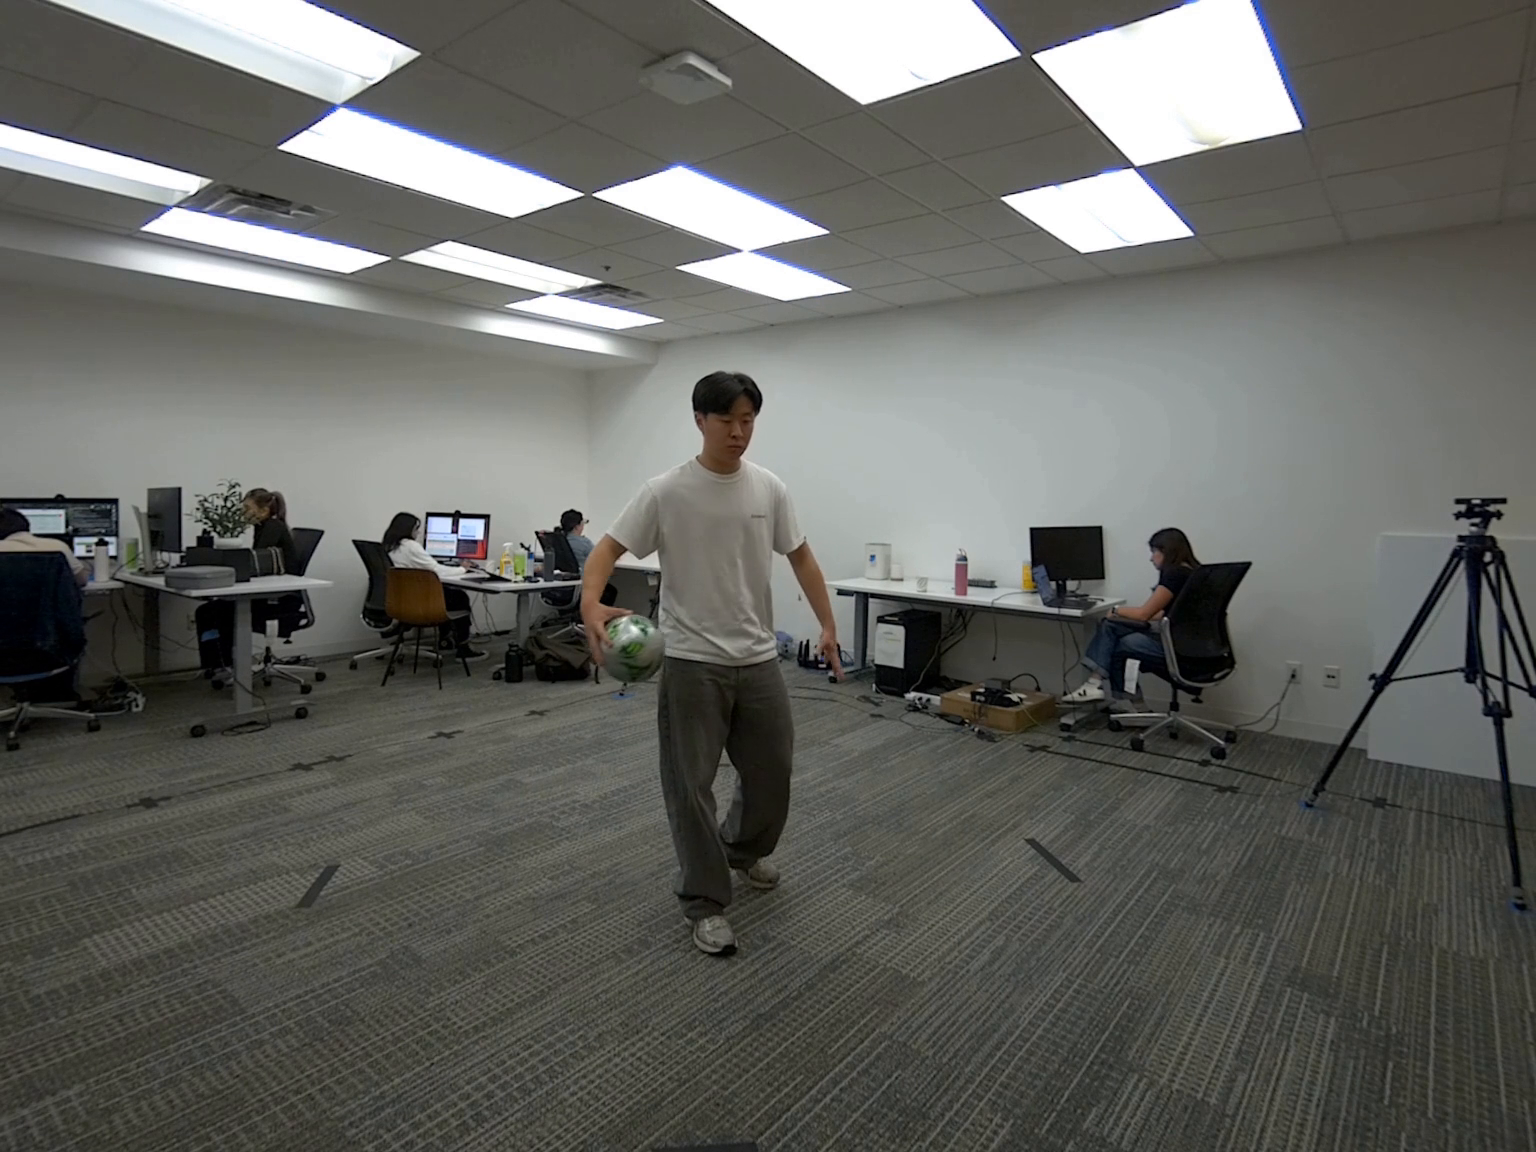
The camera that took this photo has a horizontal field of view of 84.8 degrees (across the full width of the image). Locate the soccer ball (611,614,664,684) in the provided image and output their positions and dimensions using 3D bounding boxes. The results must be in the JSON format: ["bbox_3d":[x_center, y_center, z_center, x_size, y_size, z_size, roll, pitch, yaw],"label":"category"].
[{"bbox_3d":[-0.318,0.186,2.389,0.187,0.187,0.188,1,4,-2],"label":"soccer ball"}]
